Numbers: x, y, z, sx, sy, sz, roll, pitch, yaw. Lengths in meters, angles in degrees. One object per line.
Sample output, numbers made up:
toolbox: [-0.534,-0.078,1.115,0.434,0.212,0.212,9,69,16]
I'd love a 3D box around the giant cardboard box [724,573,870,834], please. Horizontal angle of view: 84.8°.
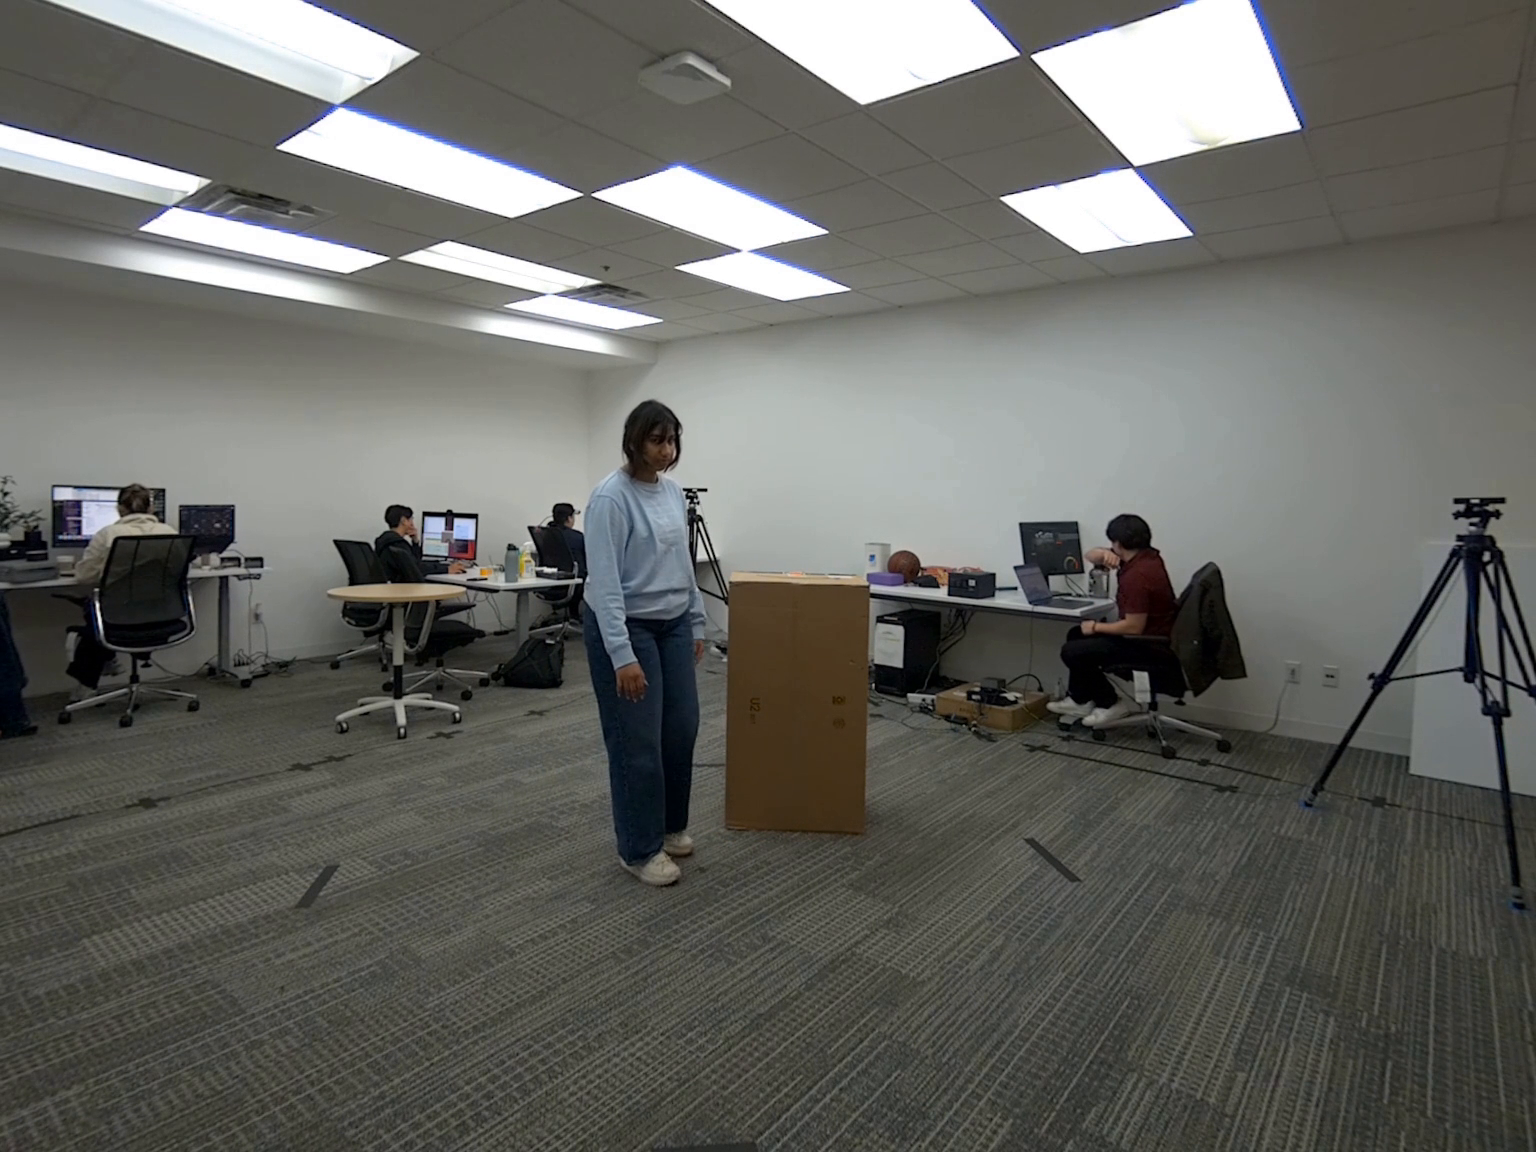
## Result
giant cardboard box: [0.111,0.513,3.667,0.579,1.022,0.426,1,3,2]
